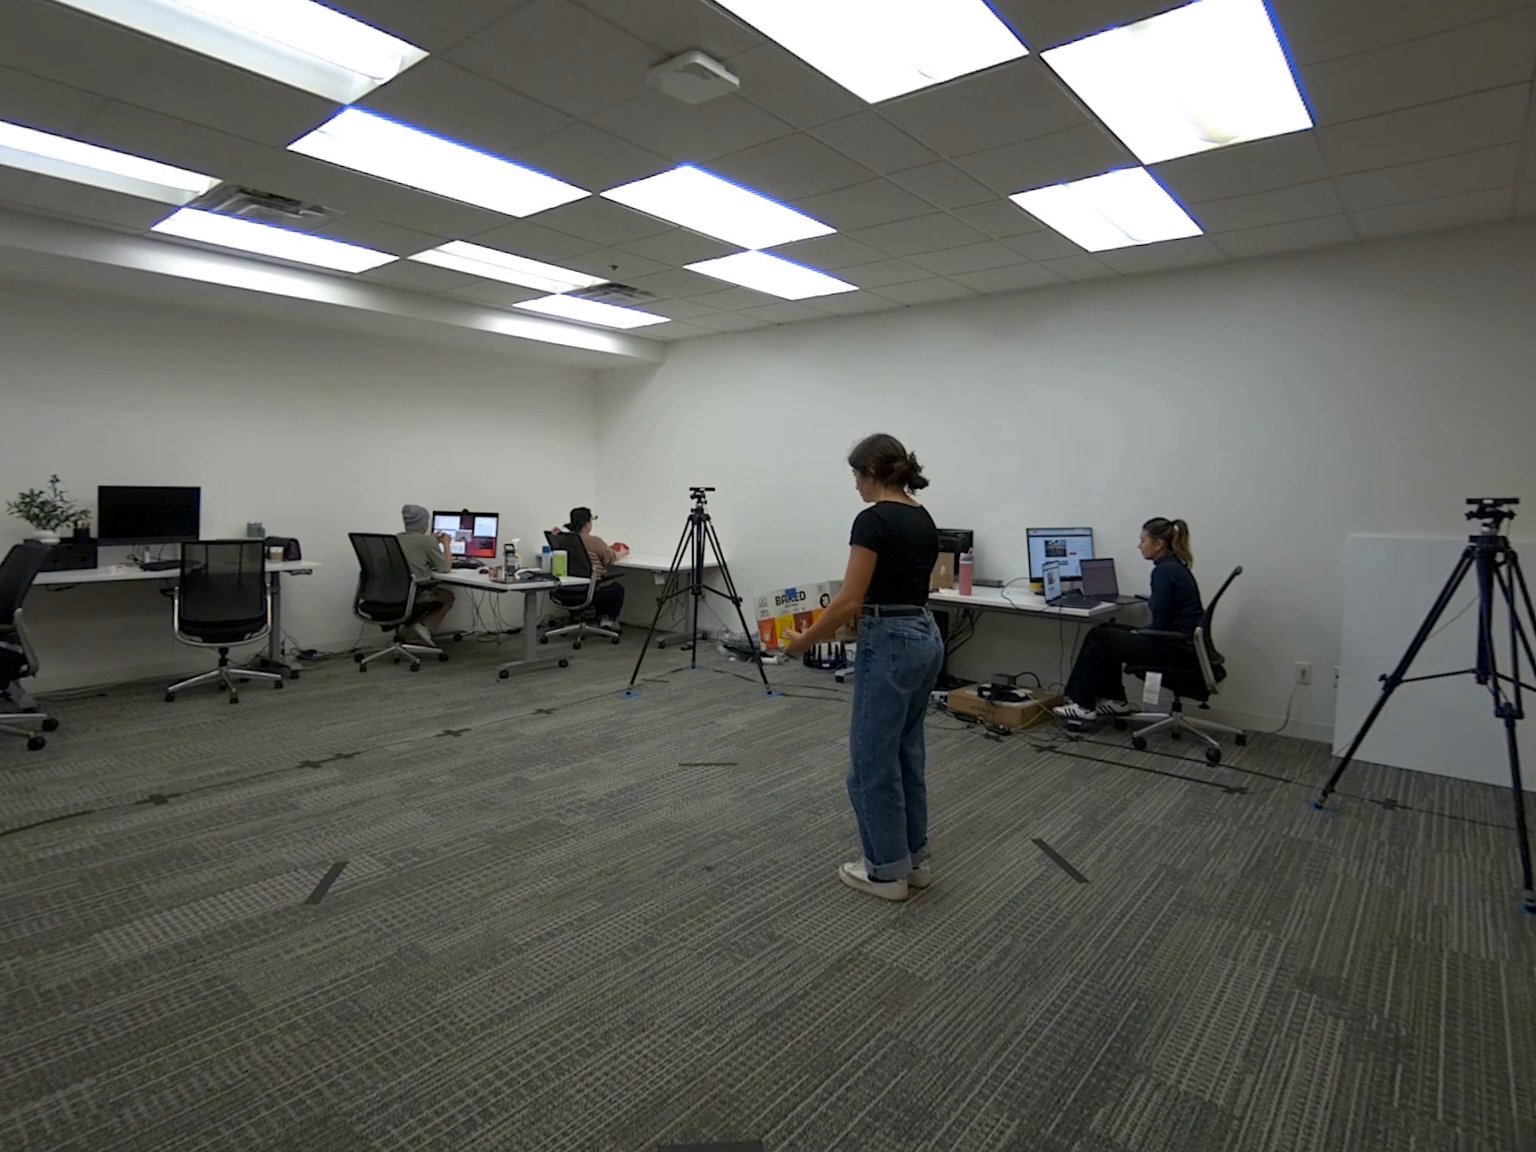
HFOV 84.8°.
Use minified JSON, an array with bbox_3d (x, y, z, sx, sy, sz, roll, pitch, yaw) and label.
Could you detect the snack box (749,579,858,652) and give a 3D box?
[{"bbox_3d":[0.202,0.142,3.166,0.348,0.207,0.392,-14,-8,39],"label":"snack box"}]
